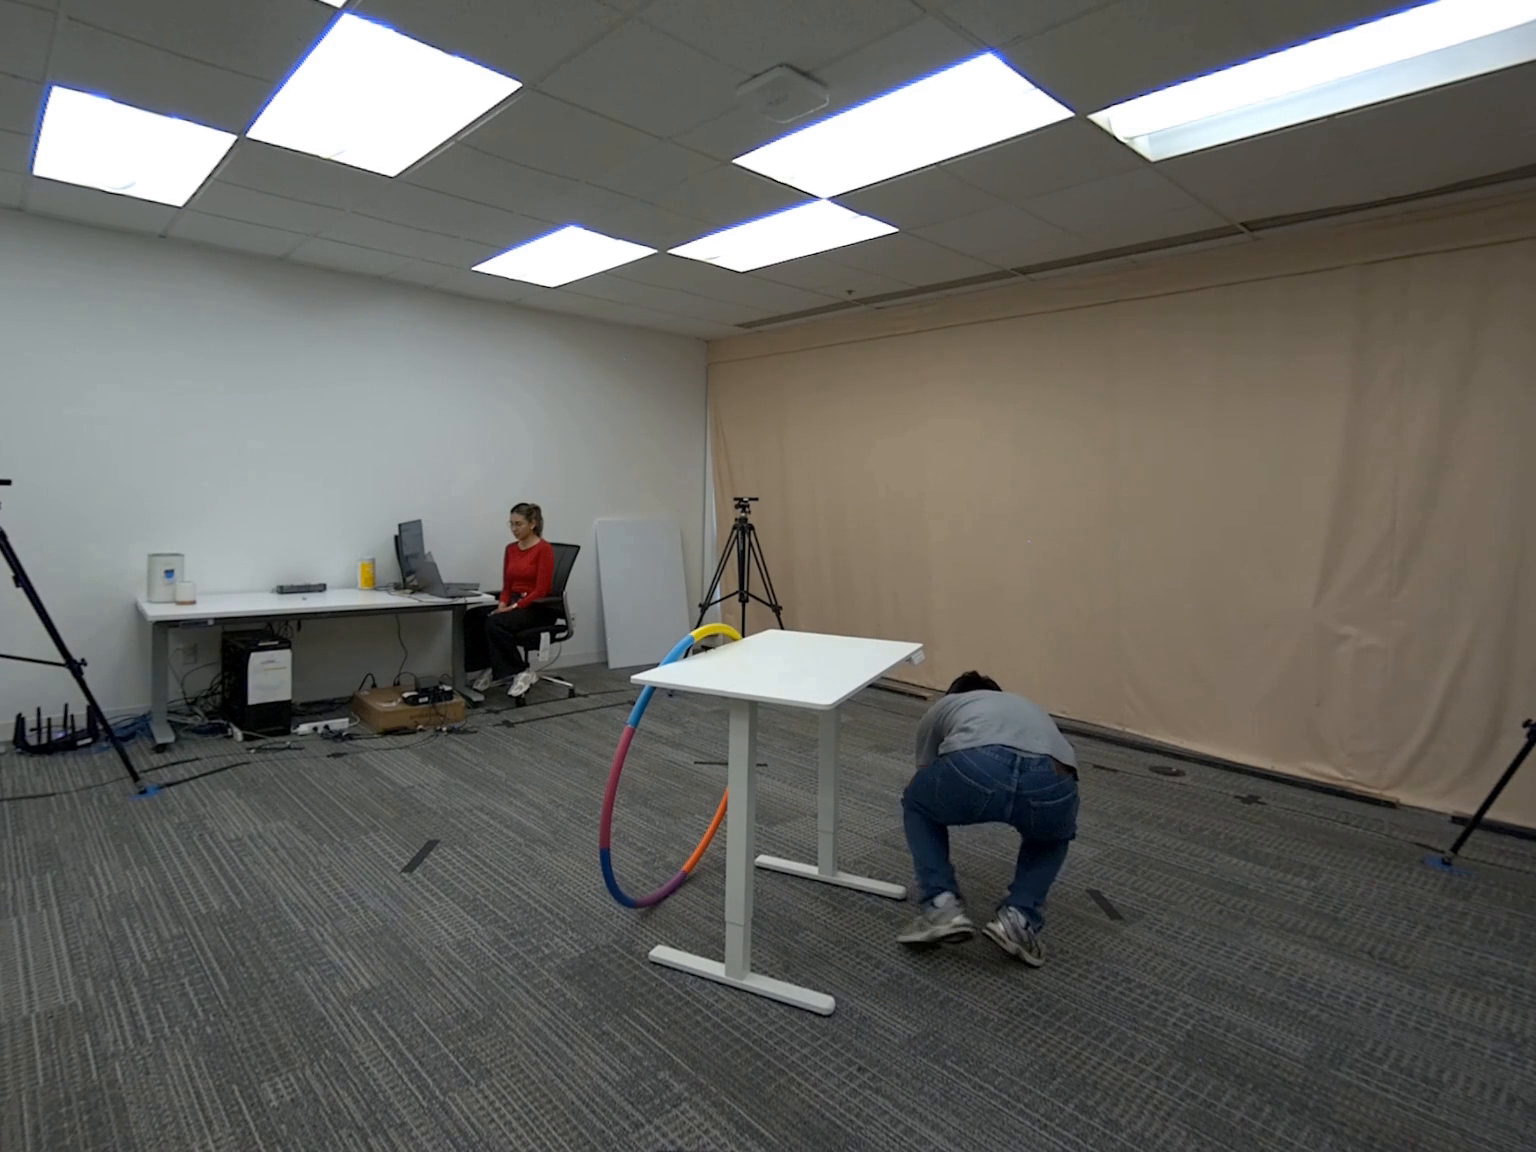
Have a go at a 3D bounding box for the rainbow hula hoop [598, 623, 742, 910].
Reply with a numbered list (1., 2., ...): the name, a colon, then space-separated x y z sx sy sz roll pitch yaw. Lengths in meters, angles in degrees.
1. rainbow hula hoop: -0.290 0.642 2.890 0.036 0.974 0.963 13 9 22
